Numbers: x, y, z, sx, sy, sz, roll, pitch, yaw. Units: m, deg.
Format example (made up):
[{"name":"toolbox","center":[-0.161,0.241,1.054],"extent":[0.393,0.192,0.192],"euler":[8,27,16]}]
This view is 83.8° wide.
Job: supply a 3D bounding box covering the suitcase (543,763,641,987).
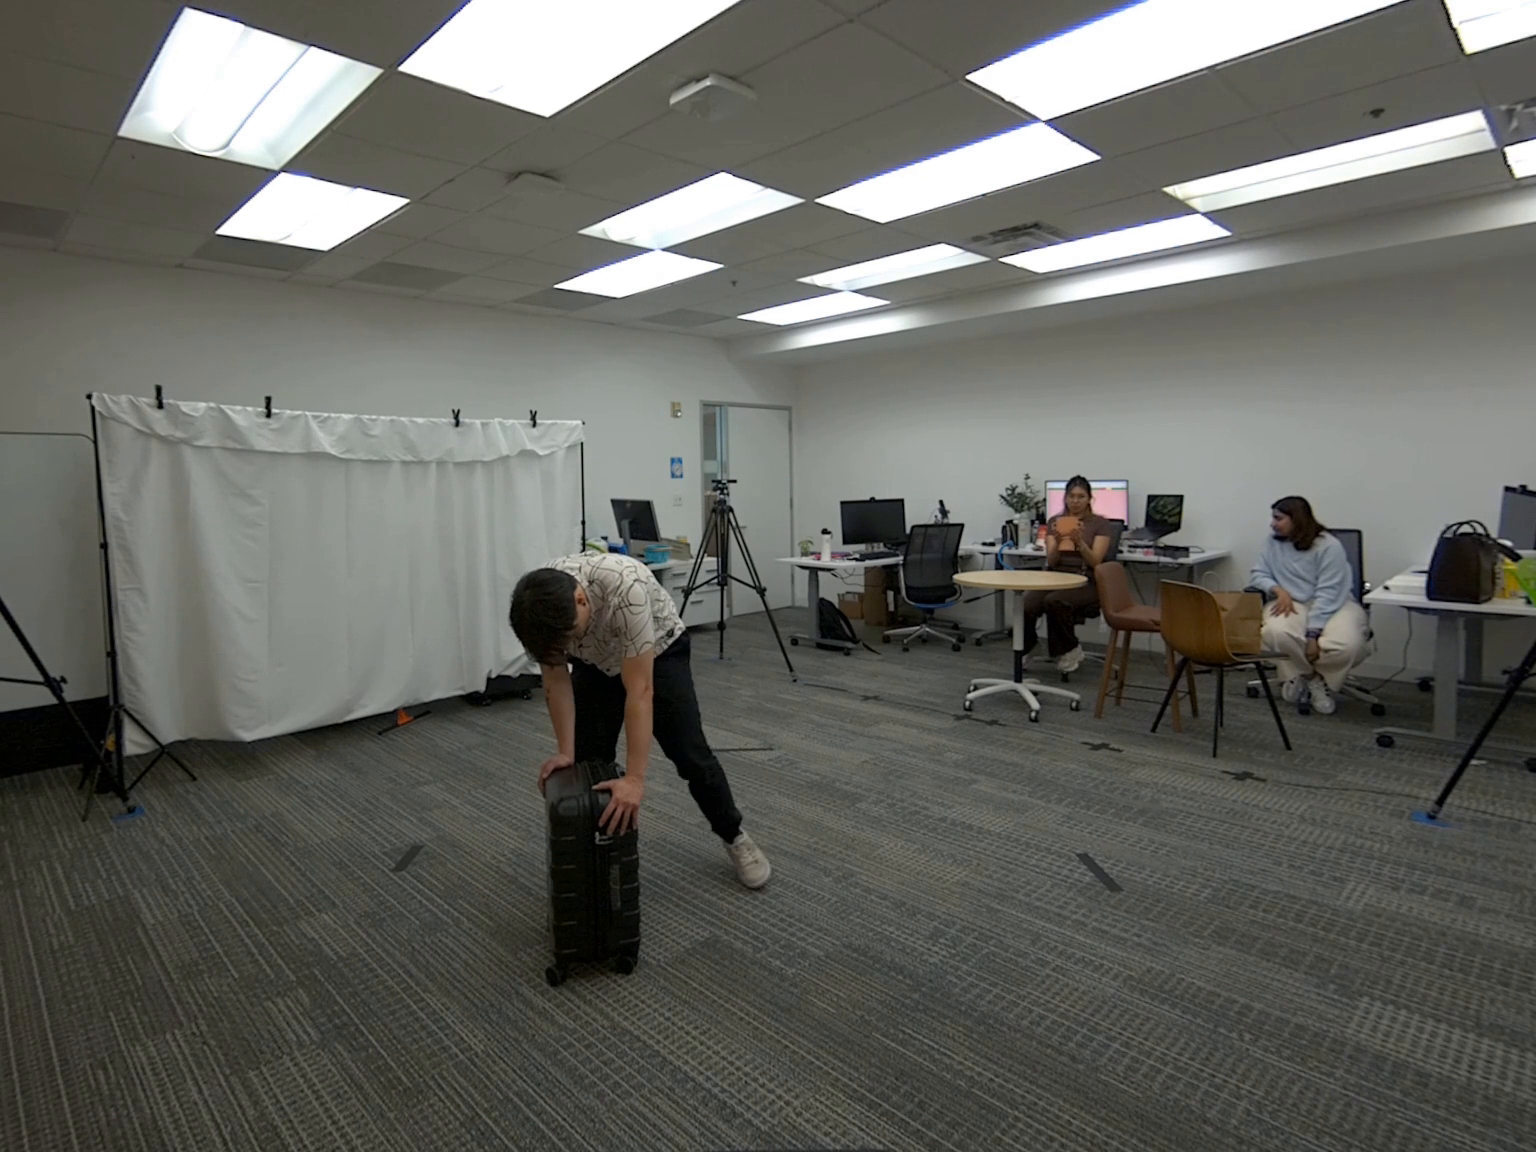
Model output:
[{"name":"suitcase","center":[-0.522,0.853,2.531],"extent":[0.244,0.546,0.383],"euler":[-2,6,-18]}]
